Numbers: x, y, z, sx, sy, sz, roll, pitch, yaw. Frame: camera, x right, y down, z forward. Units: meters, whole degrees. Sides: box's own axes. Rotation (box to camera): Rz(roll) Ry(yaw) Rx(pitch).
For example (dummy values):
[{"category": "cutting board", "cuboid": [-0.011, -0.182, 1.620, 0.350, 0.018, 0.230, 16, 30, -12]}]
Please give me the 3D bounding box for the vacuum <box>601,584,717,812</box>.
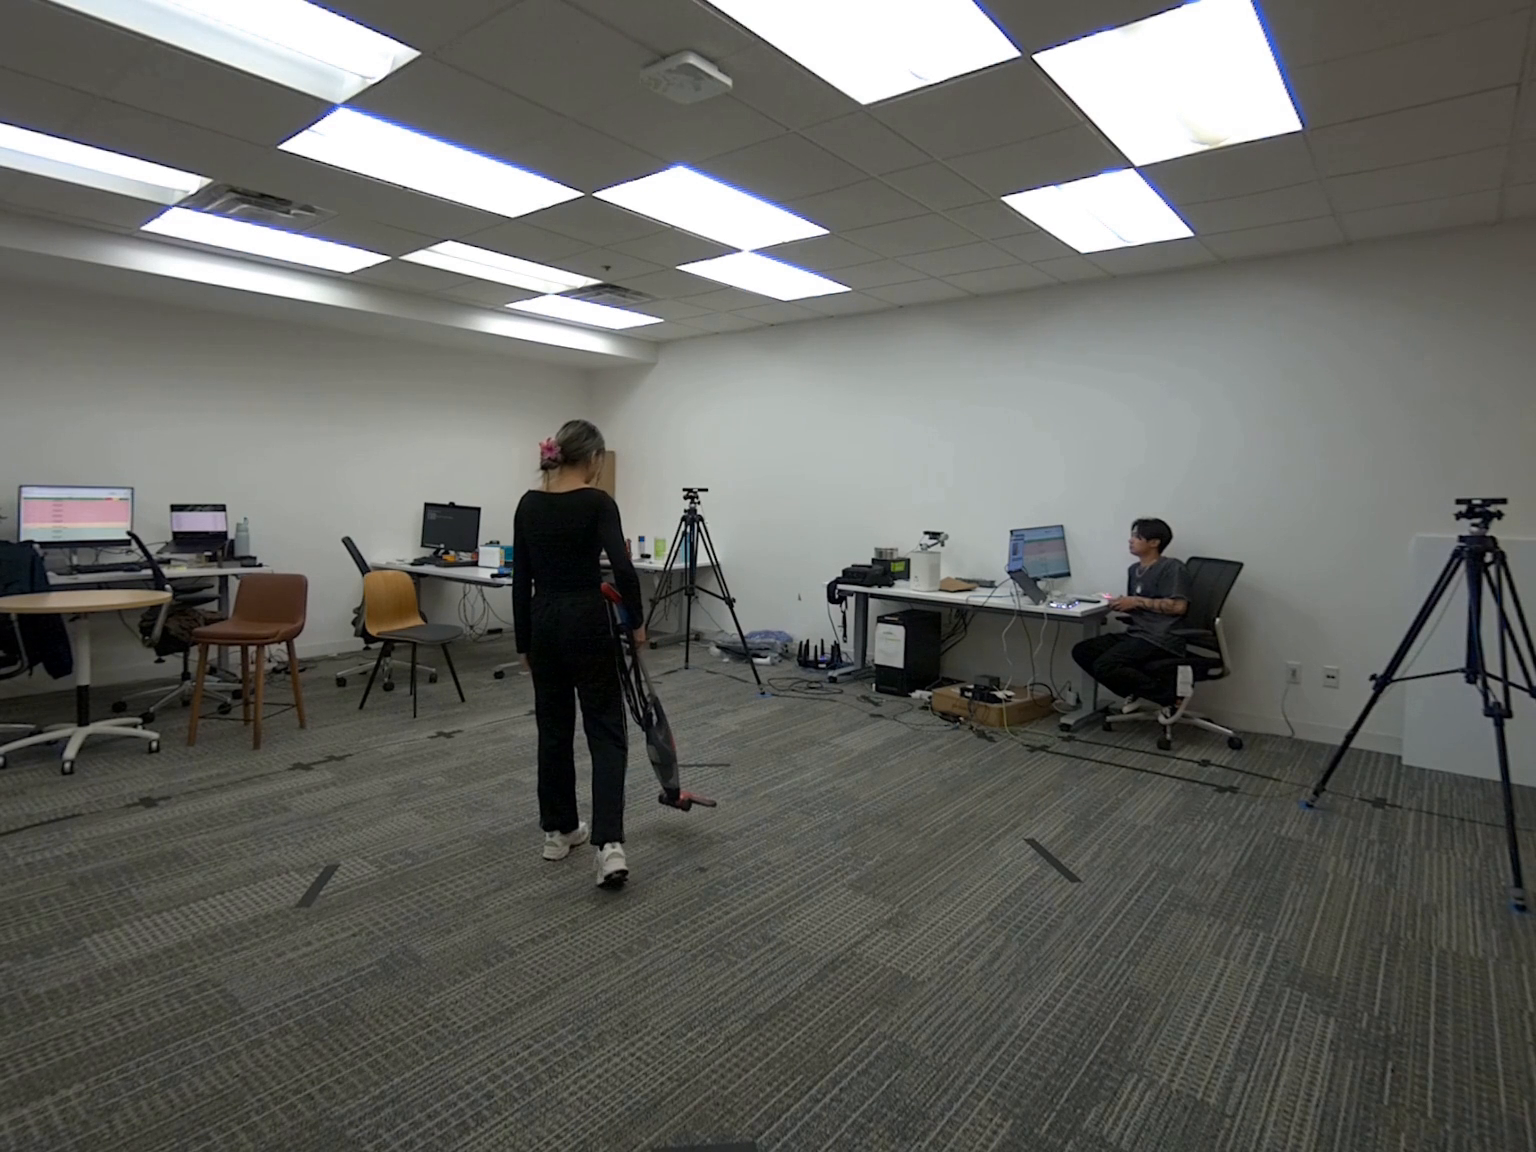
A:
[{"category": "vacuum", "cuboid": [-0.460, 0.482, 3.204, 0.260, 1.020, 0.144, 4, 31, 31]}]
